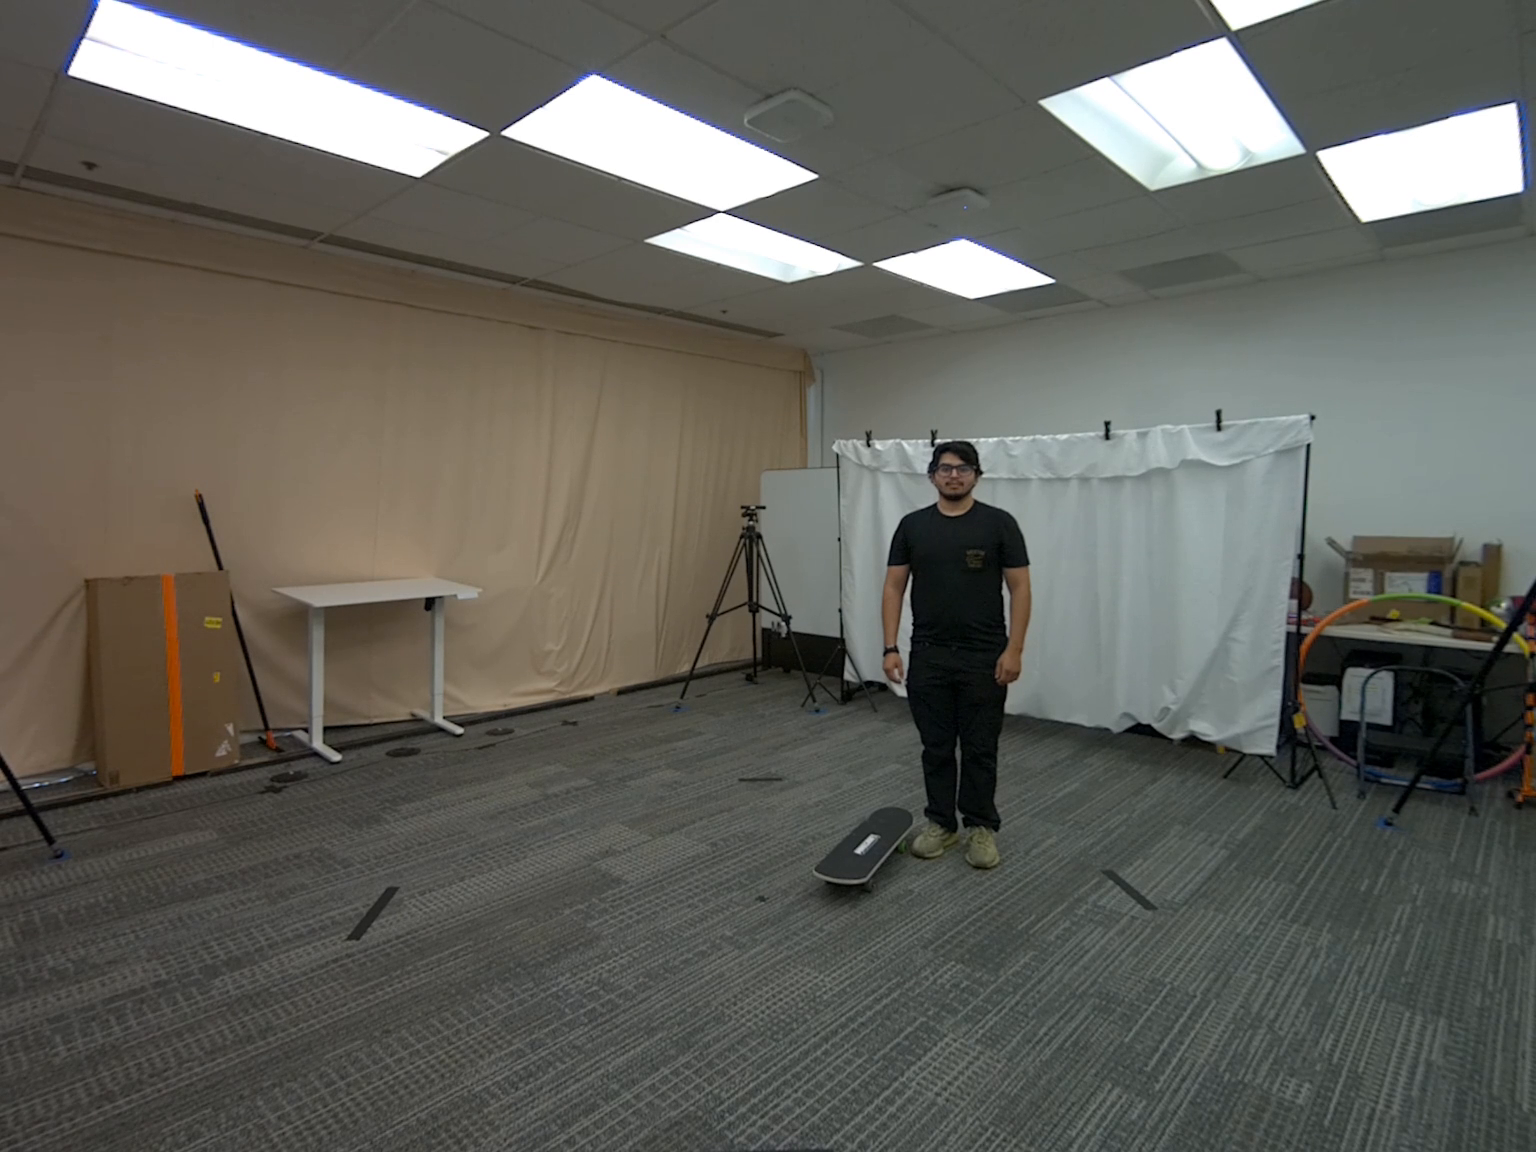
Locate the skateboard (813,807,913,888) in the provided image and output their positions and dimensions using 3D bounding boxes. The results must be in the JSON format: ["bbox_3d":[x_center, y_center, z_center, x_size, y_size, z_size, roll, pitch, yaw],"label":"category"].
[{"bbox_3d":[0.382,1.064,3.238,0.199,0.110,0.766,3,5,26],"label":"skateboard"}]
